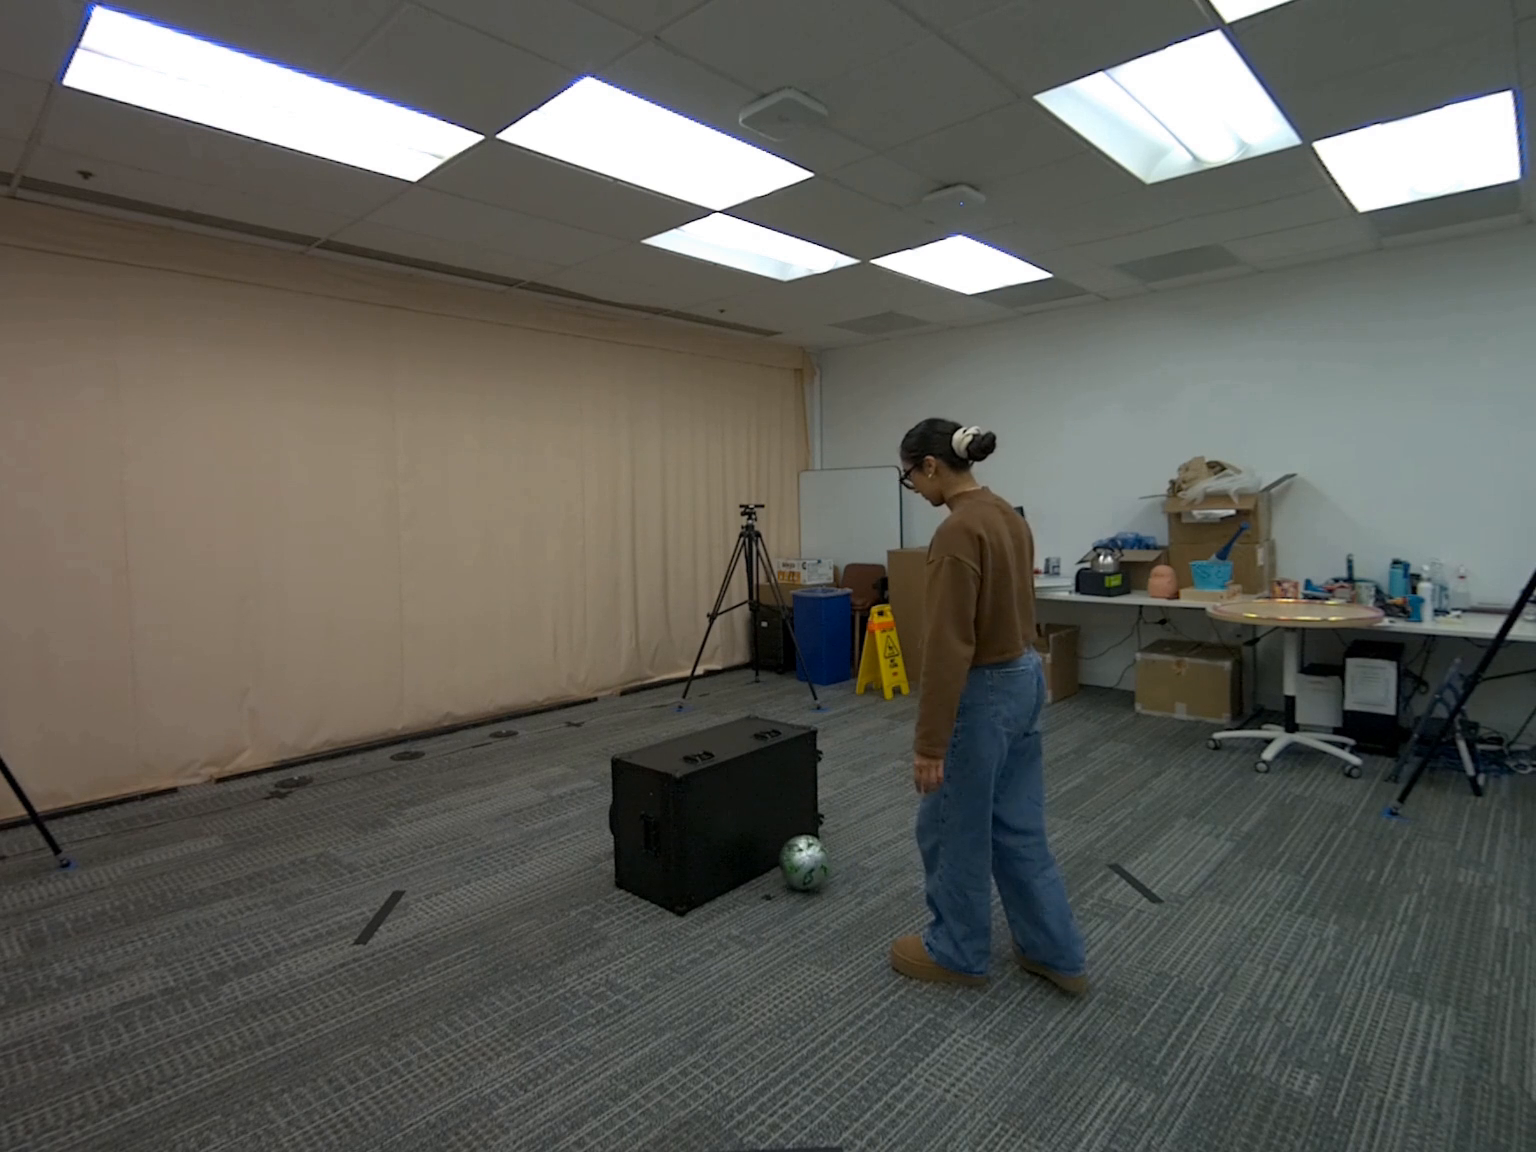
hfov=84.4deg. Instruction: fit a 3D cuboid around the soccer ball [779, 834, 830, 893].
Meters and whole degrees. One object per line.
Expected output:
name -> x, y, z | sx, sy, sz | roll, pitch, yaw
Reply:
soccer ball -> 0.131, 1.025, 3.038 | 0.187, 0.187, 0.188 | -1, 4, -2
